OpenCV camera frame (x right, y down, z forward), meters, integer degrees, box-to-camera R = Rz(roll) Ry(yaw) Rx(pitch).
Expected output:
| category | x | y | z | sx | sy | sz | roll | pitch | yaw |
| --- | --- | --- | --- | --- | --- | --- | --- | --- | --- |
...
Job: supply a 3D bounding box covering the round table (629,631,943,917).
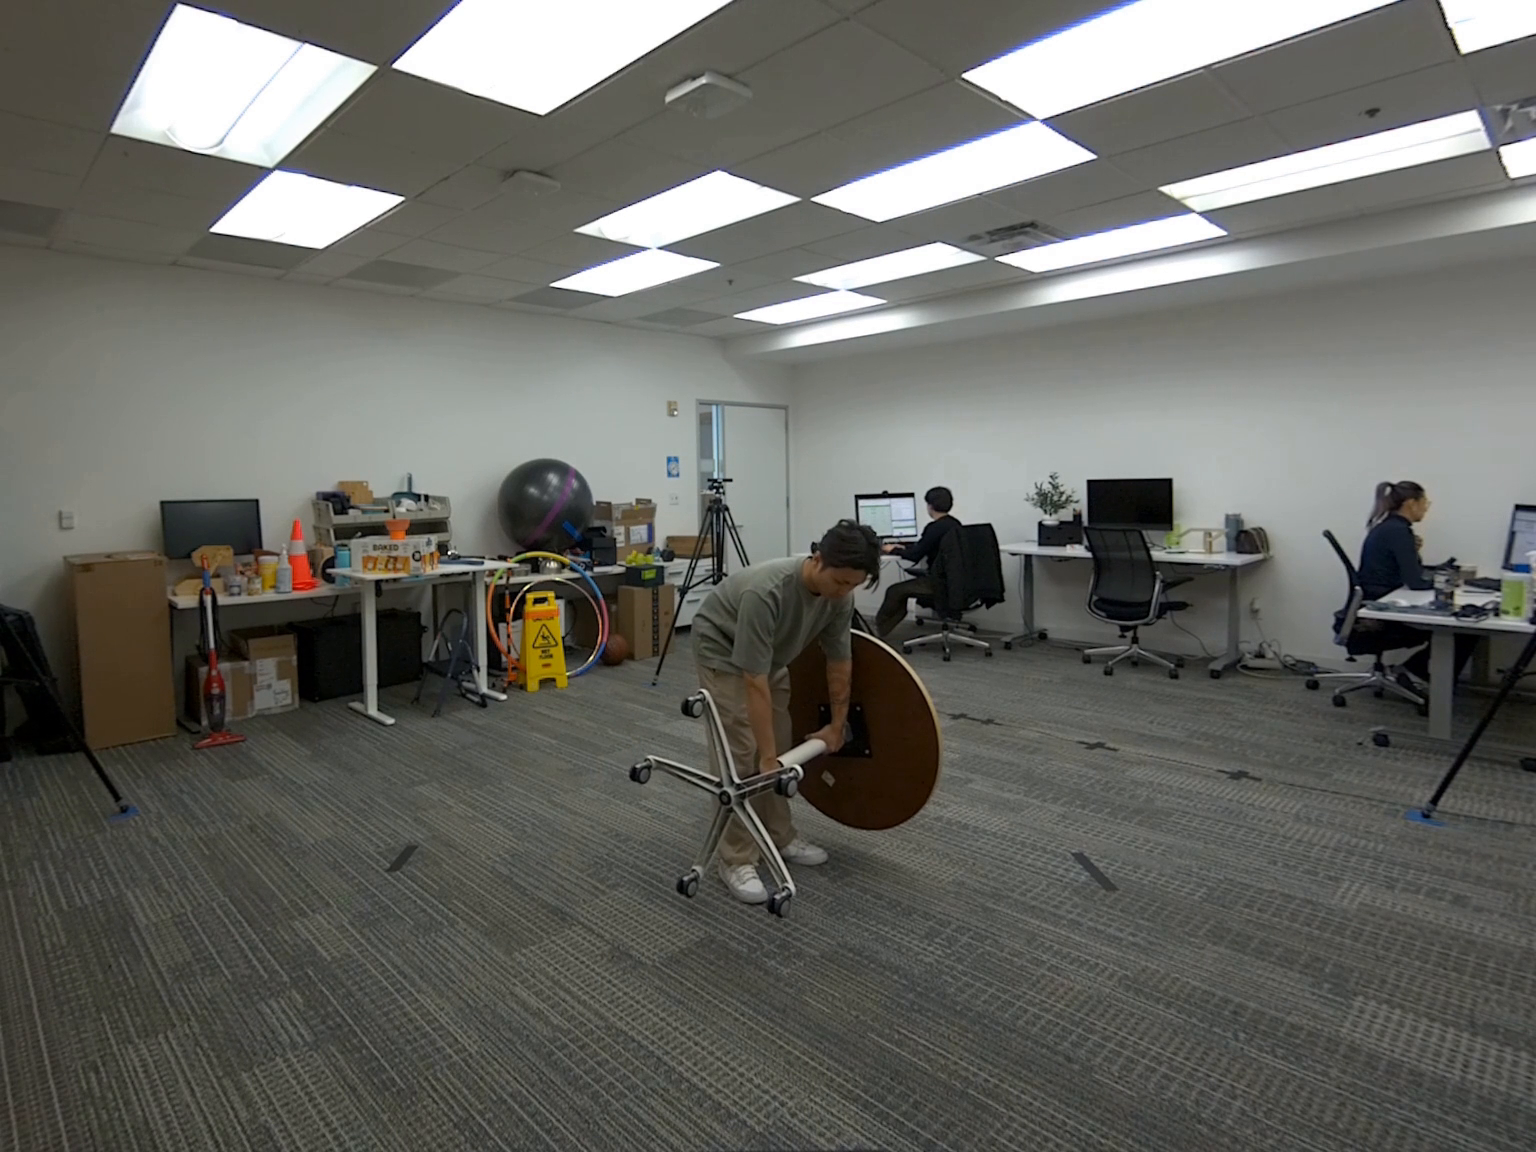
| category | x | y | z | sx | sy | sz | roll | pitch | yaw |
| --- | --- | --- | --- | --- | --- | --- | --- | --- | --- |
| round table | 0.067 | 0.644 | 2.899 | 0.808 | 0.778 | 0.770 | 3 | 12 | 39 |
